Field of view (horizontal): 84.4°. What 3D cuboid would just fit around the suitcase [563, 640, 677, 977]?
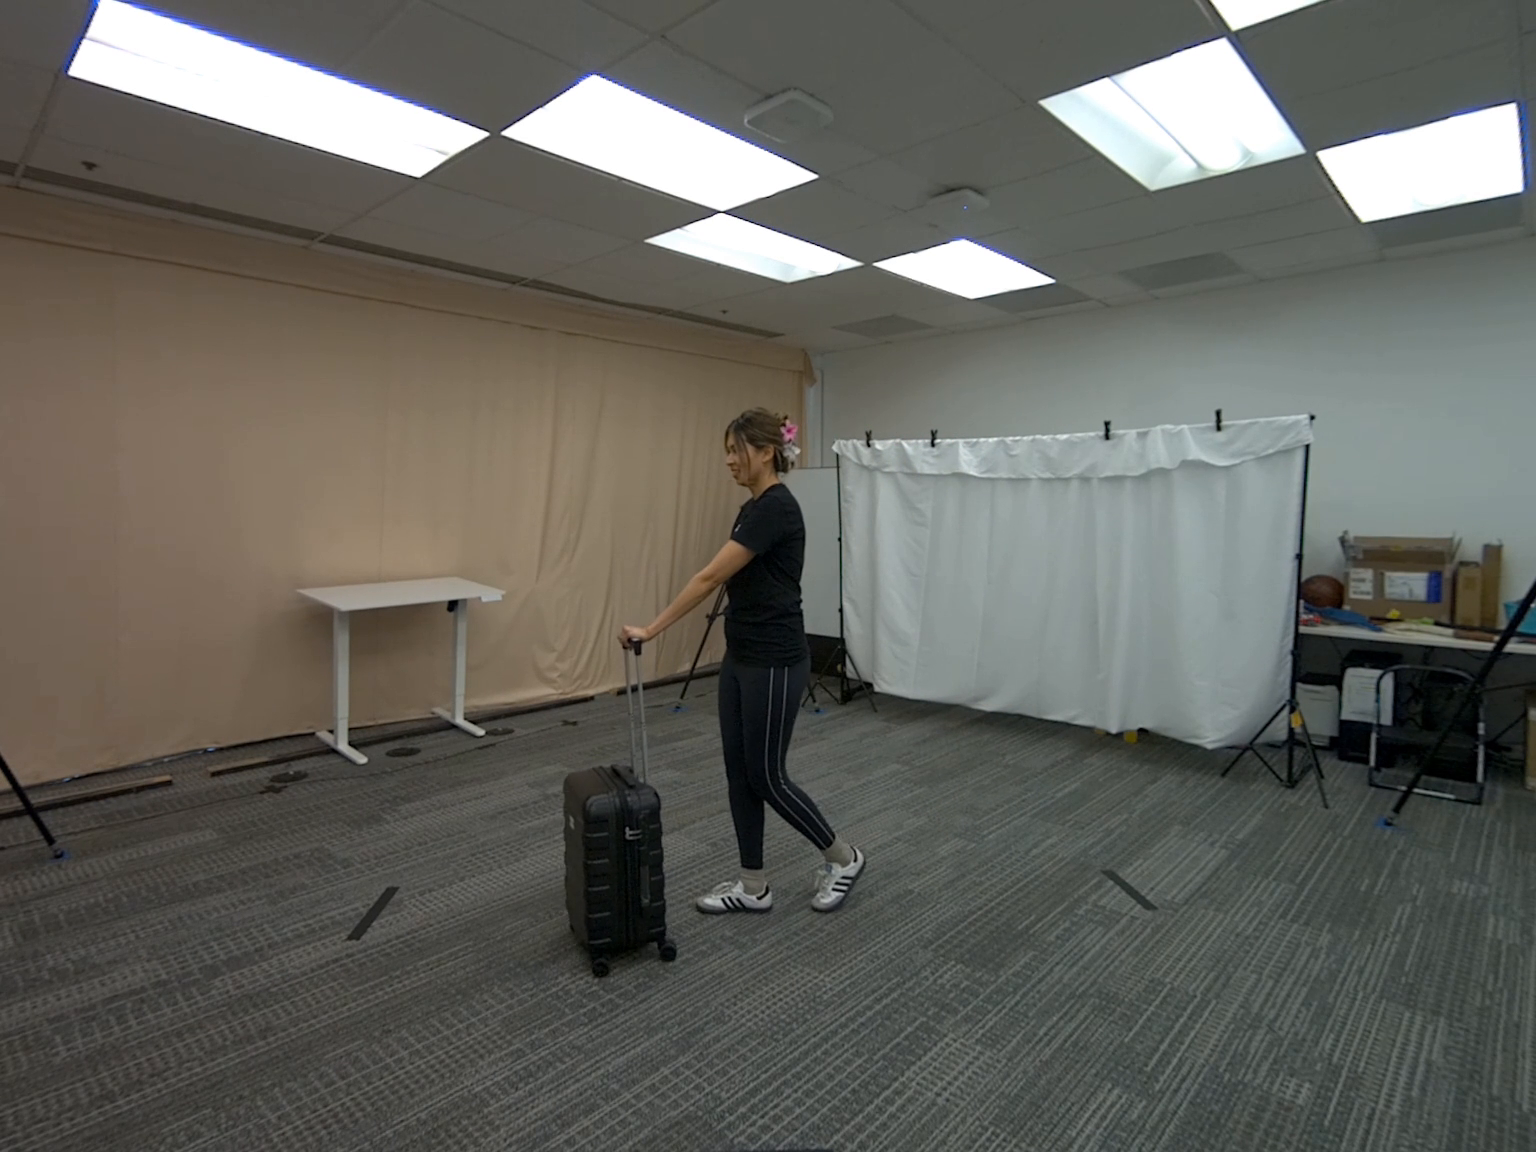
[{"bbox_3d":[-0.505,0.698,2.650,0.252,0.976,0.392,-5,4,-21],"label":"suitcase"}]
